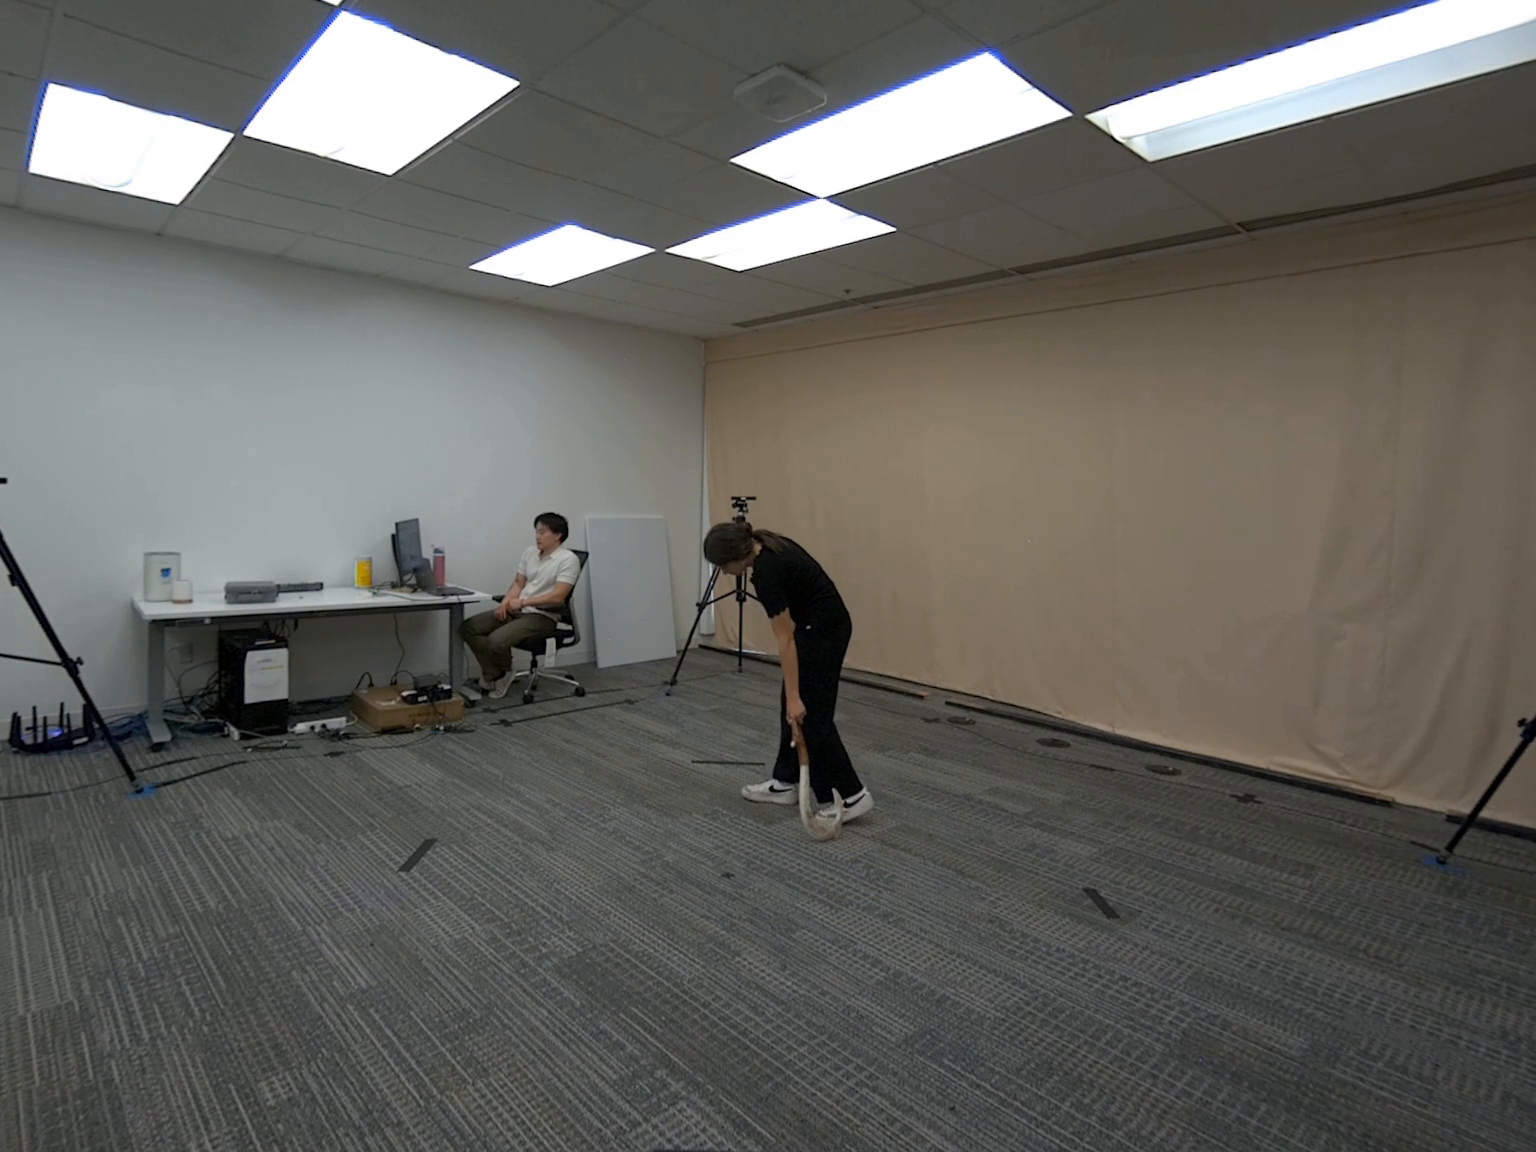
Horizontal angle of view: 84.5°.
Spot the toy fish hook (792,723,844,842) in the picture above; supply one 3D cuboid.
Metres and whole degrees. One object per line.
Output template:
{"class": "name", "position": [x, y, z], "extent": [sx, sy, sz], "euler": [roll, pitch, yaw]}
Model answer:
{"class": "toy fish hook", "position": [0.189, 0.847, 3.538], "extent": [0.219, 0.514, 0.049], "euler": [4, -23, -38]}
